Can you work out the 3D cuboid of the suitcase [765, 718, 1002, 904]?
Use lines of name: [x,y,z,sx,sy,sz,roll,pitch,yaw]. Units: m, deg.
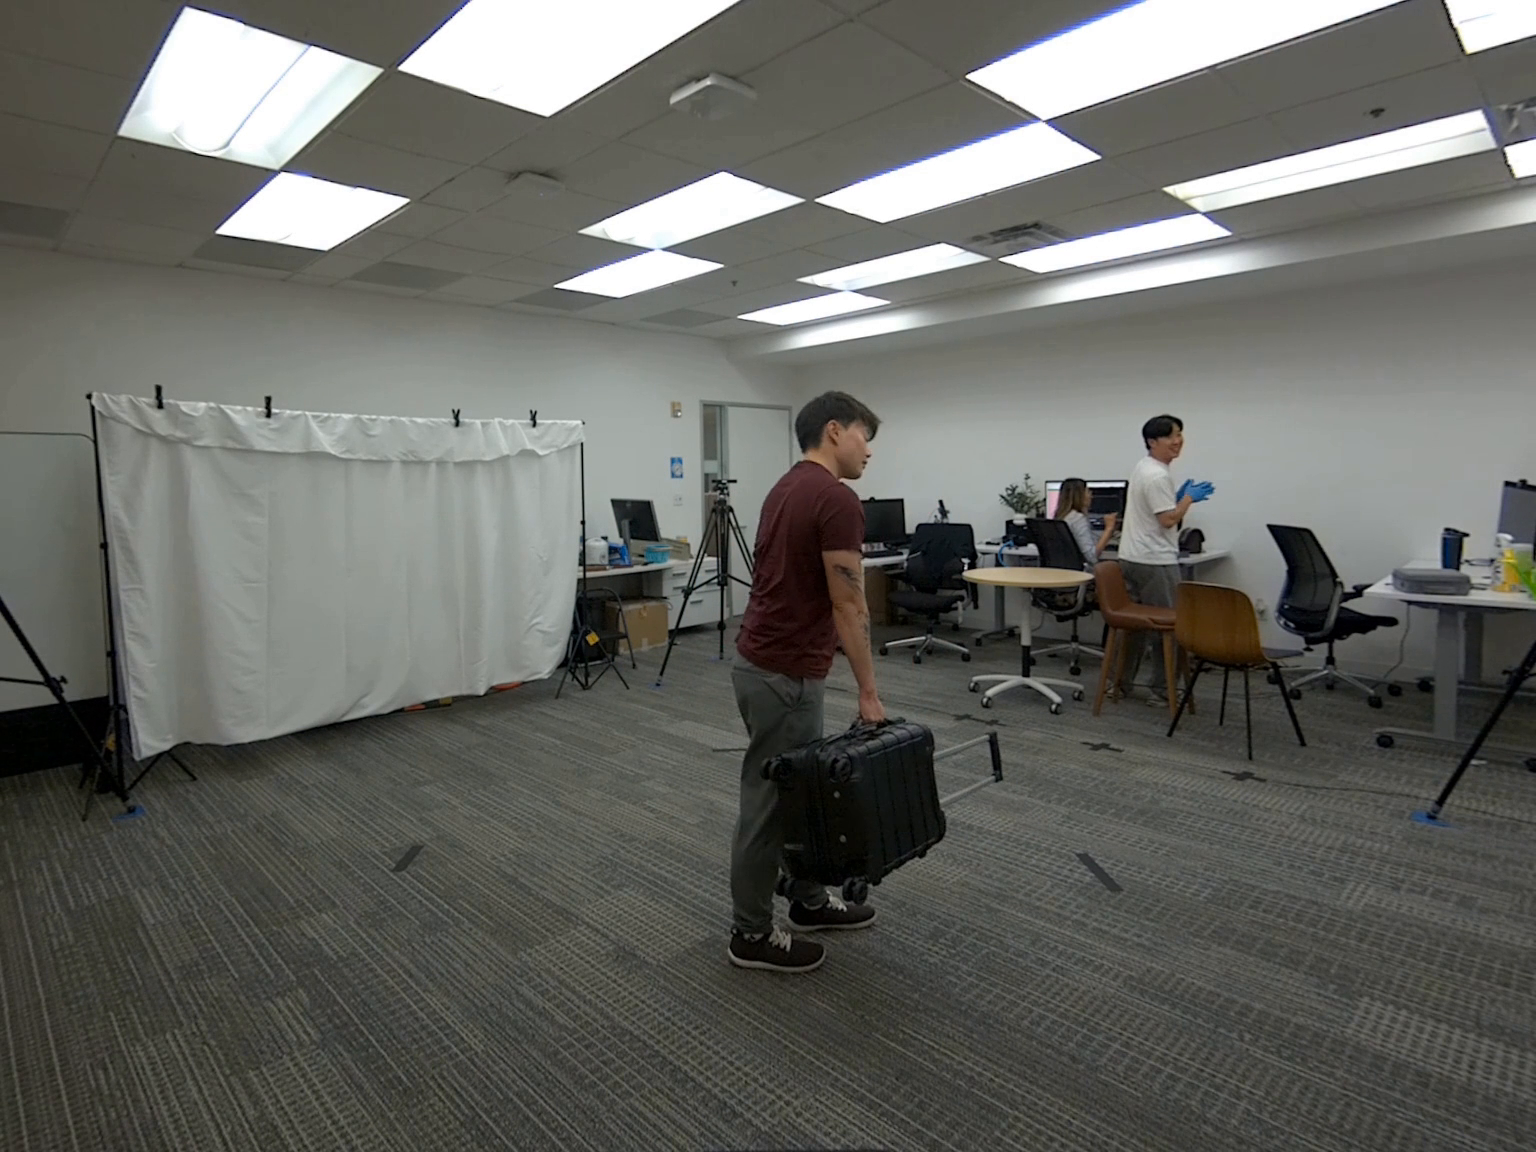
suitcase: [0.388,0.606,2.483,0.263,0.386,0.951,-10,-5,36]
